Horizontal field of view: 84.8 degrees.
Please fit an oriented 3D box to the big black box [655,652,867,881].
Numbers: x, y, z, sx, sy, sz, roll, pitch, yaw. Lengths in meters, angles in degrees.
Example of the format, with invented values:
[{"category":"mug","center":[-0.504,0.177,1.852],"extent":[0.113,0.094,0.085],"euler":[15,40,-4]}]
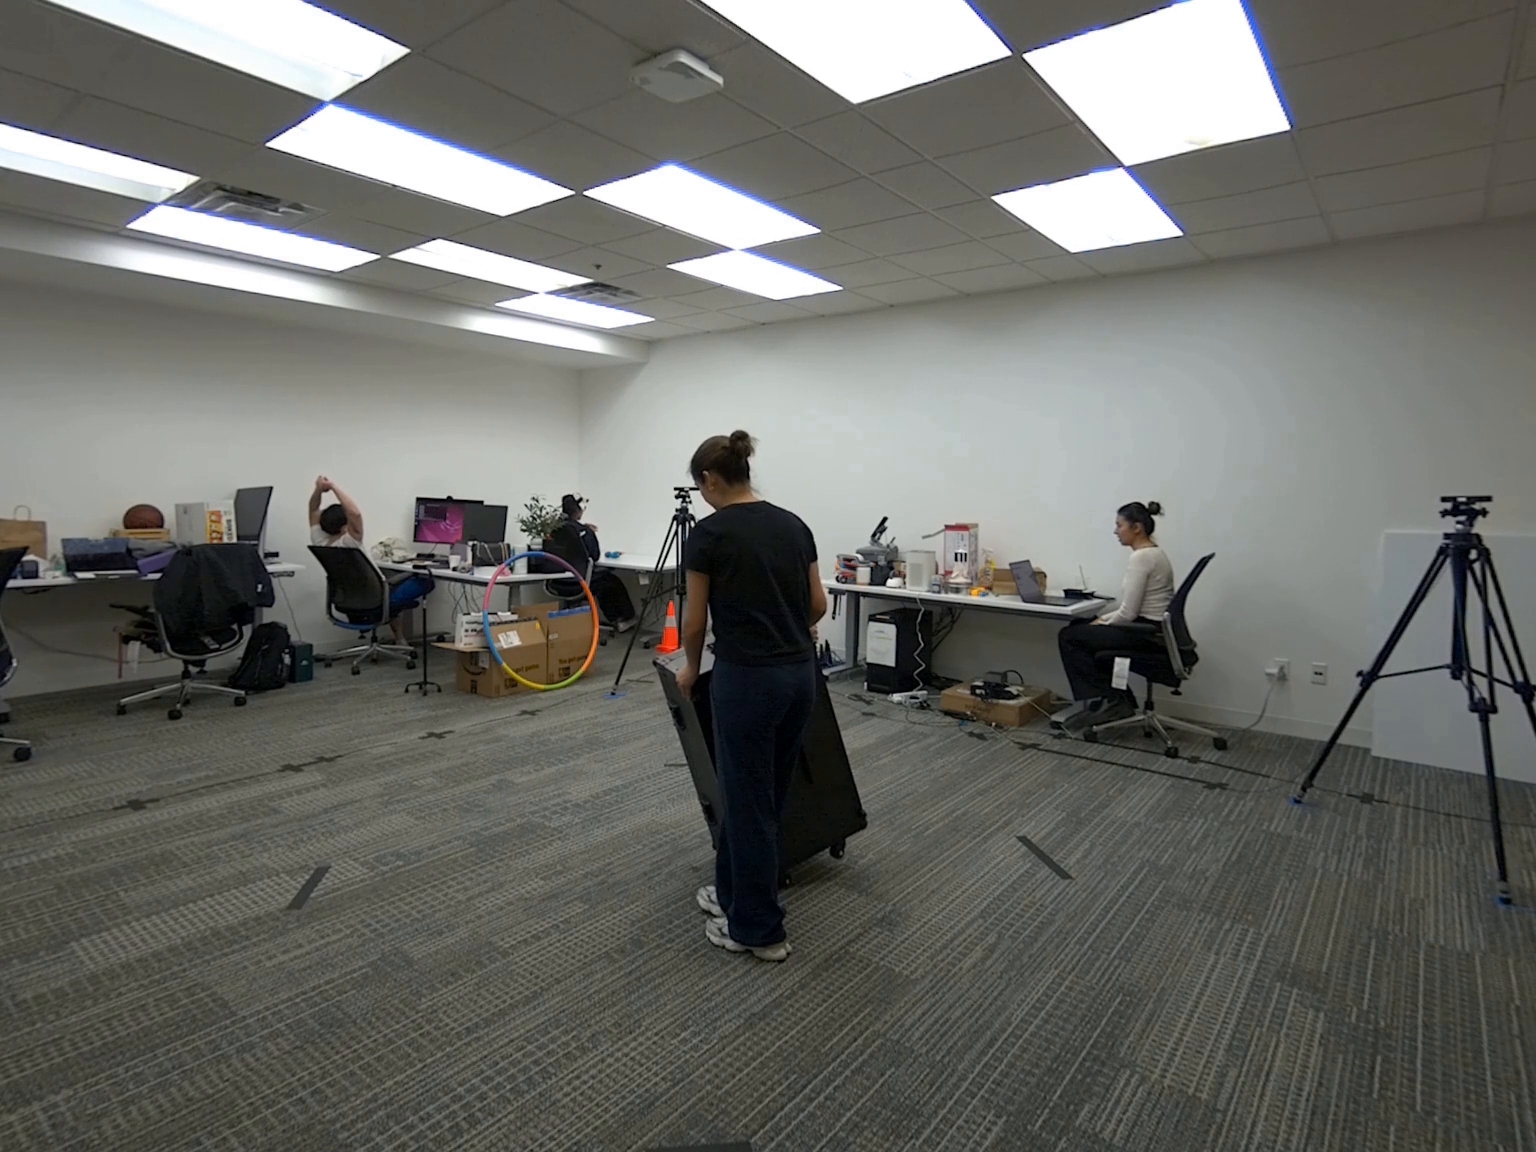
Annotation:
[{"category":"big black box","center":[0.004,0.628,3.083],"extent":[0.515,0.850,0.407],"euler":[-21,12,-20]}]
